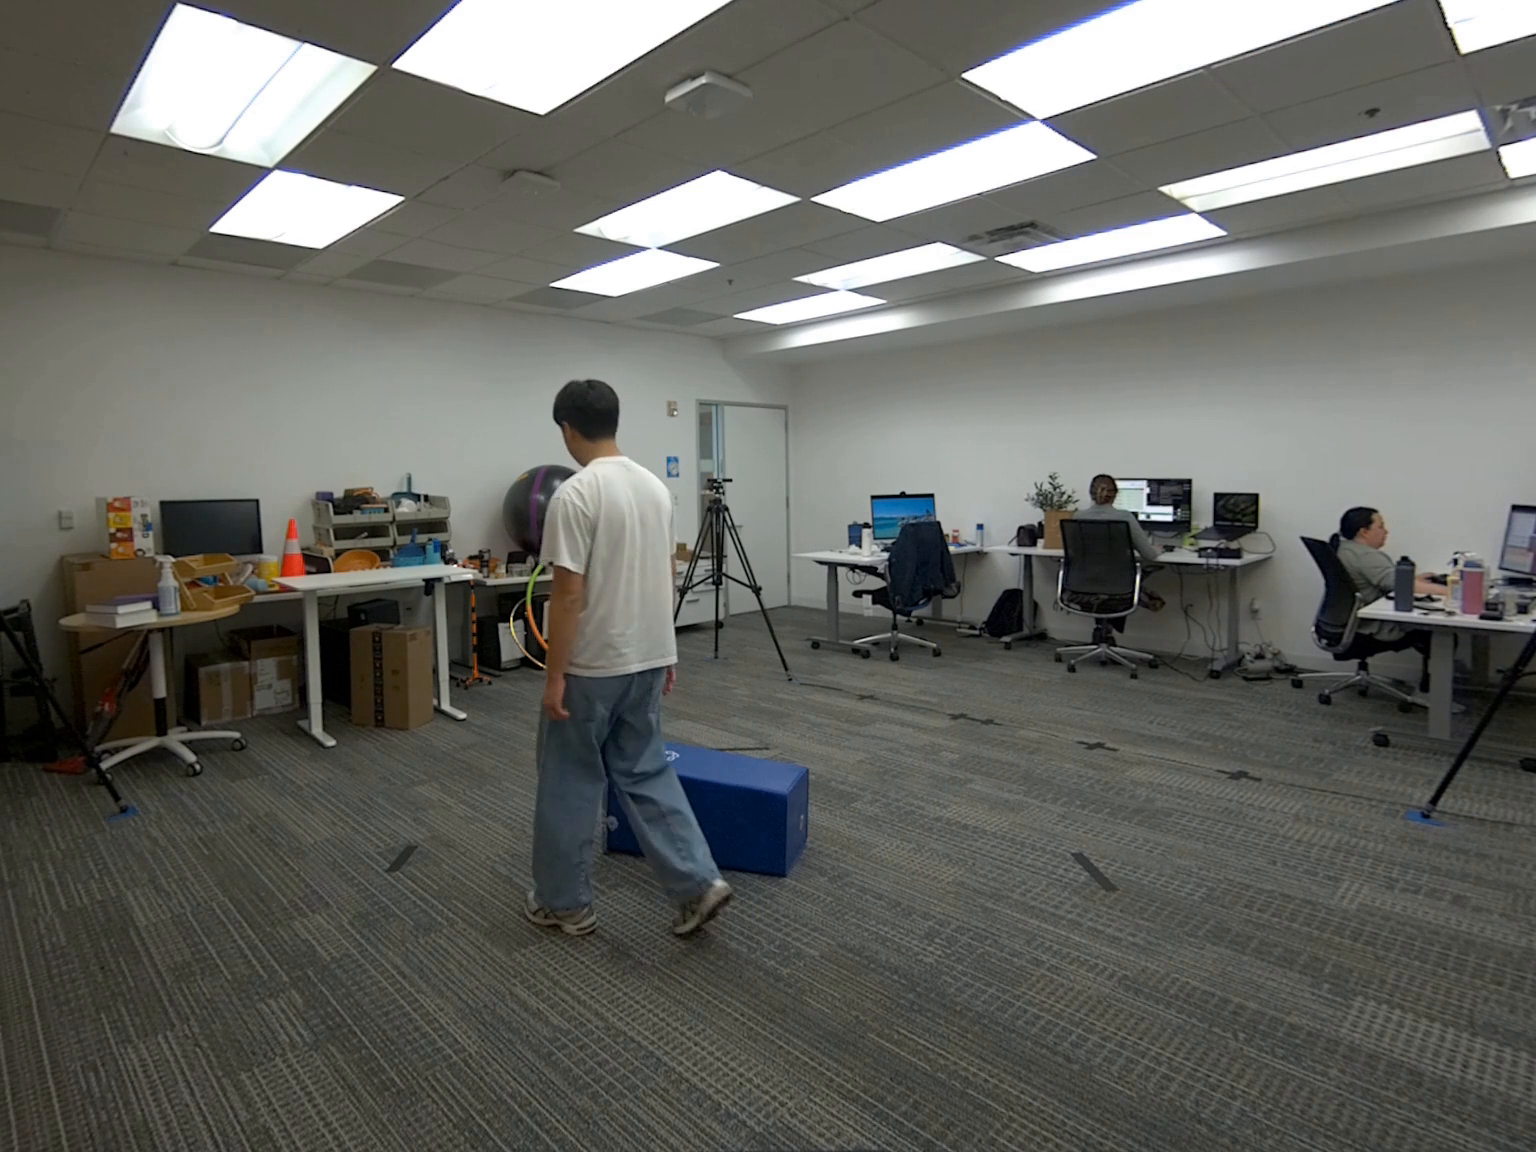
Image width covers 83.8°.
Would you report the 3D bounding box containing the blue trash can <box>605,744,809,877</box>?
[{"bbox_3d":[-0.226,0.863,3.237,0.728,0.376,0.368,4,6,20],"label":"blue trash can"}]
